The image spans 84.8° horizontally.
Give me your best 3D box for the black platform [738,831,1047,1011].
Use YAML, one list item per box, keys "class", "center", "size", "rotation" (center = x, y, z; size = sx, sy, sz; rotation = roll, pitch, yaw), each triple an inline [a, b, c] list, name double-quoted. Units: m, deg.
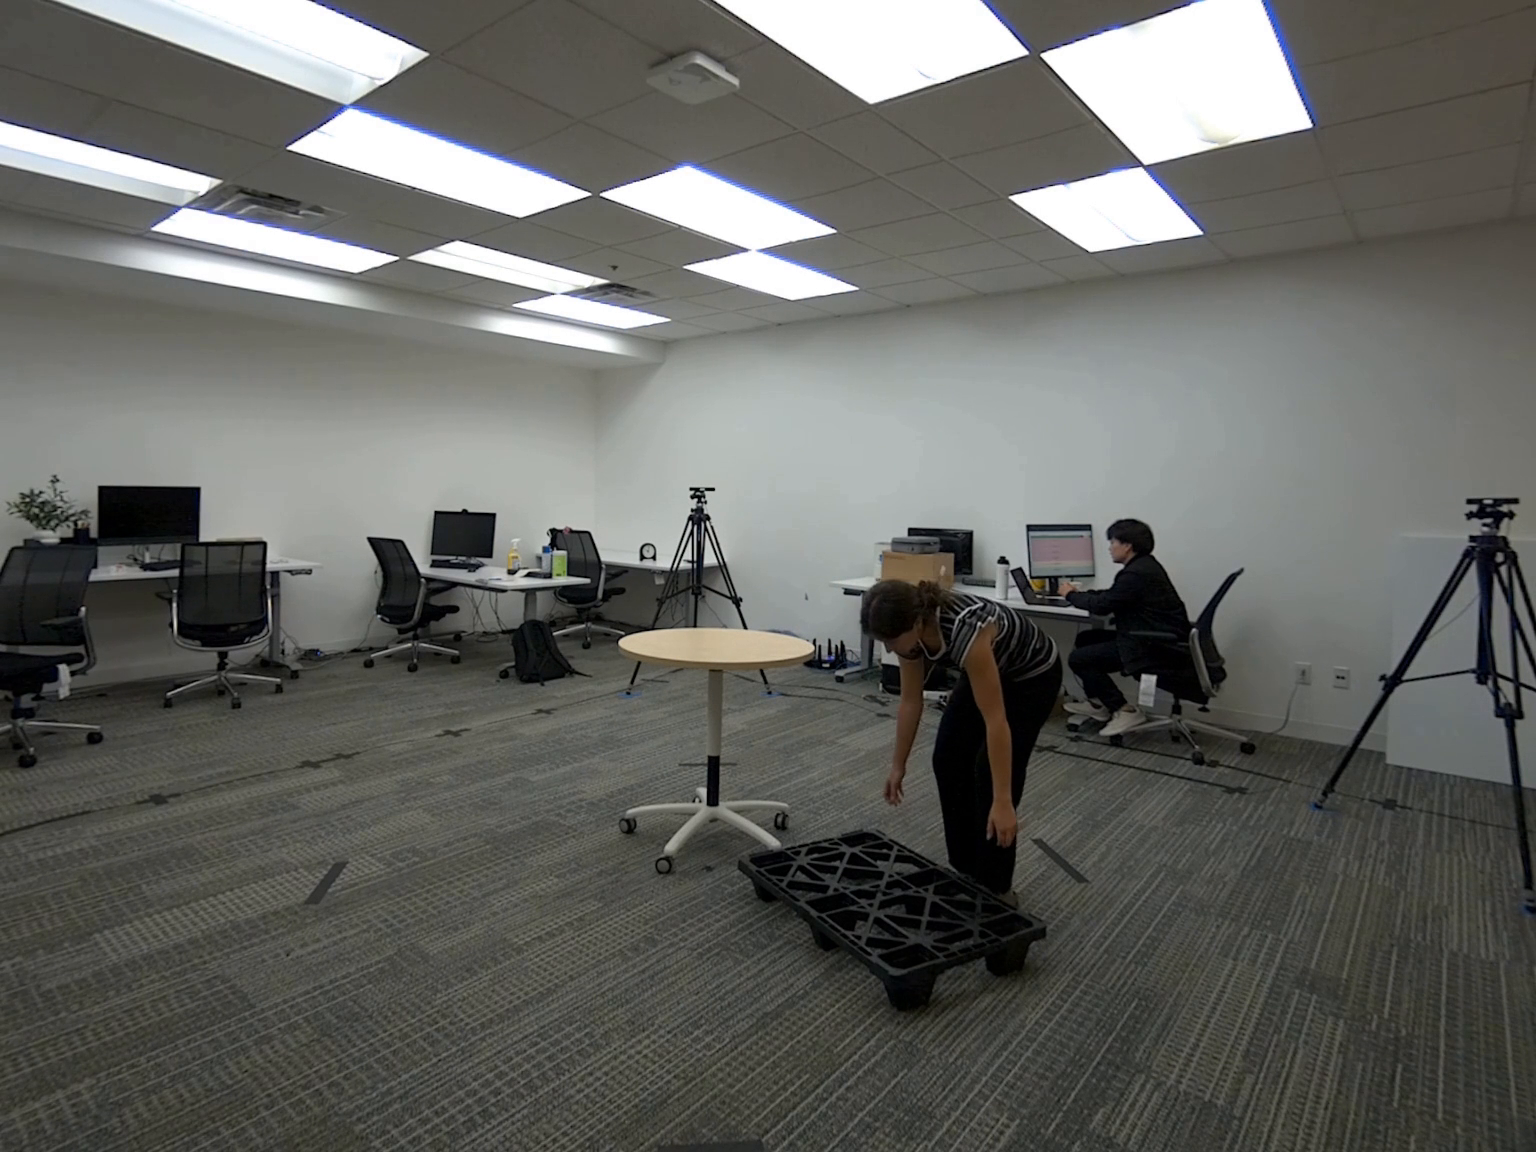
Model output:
- class: "black platform"
  center: [0.351, 1.054, 2.698]
  size: [0.589, 0.143, 0.831]
  rotation: [-3, 7, -31]
